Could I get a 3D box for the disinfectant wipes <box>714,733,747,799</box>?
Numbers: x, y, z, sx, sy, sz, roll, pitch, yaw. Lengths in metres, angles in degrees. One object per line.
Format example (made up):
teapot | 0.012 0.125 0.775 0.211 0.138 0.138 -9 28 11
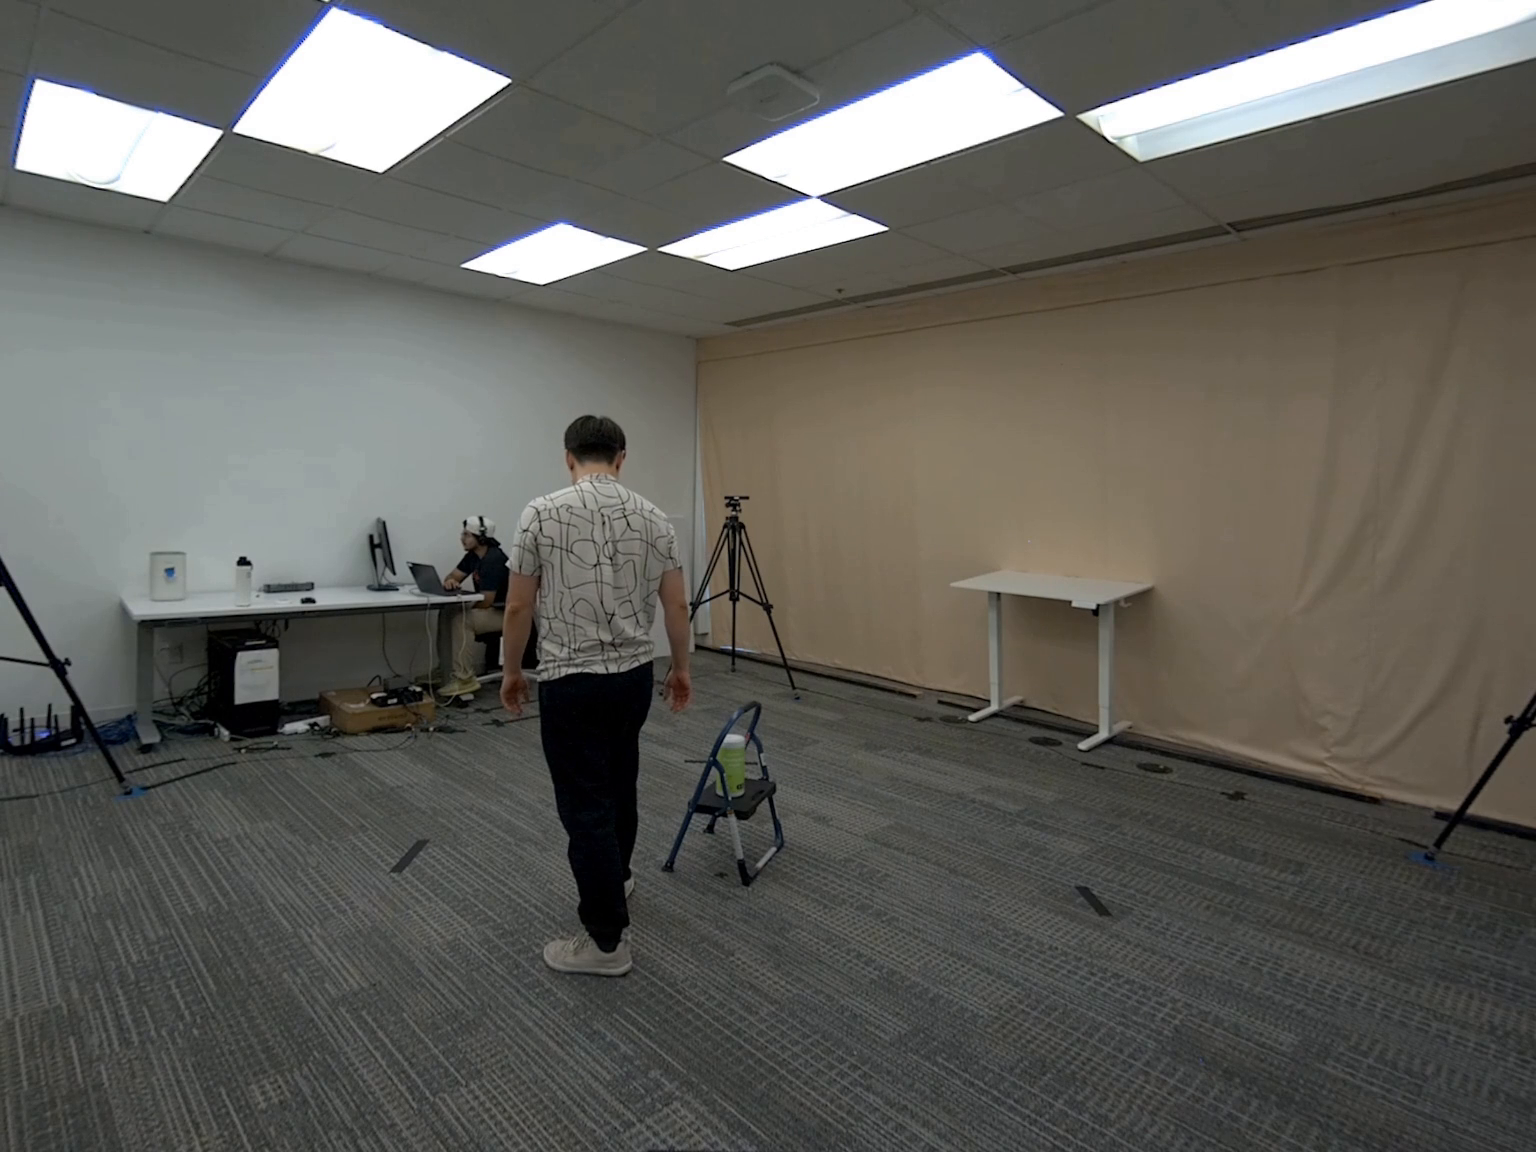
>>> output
disinfectant wipes | -0.150 0.732 3.217 0.118 0.218 0.117 0 -2 -1
